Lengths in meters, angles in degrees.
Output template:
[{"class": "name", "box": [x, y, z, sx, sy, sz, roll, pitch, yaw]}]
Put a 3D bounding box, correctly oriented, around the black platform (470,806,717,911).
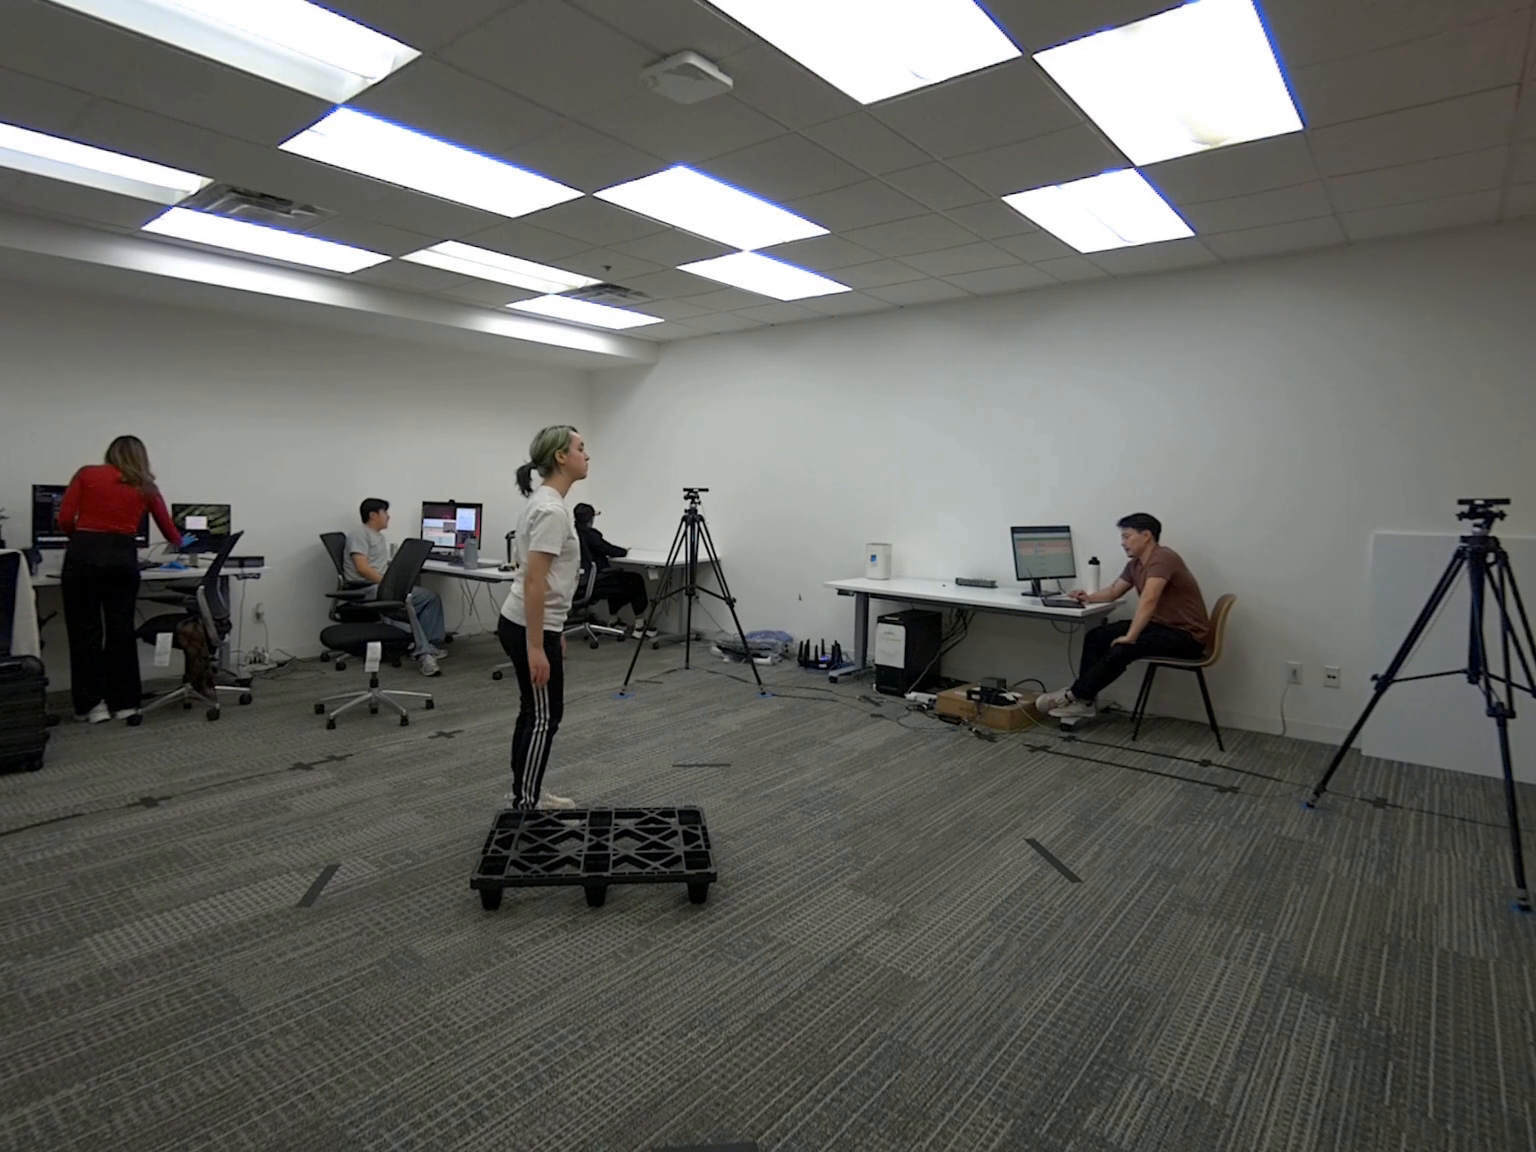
[{"class": "black platform", "box": [-0.613, 1.000, 3.037, 0.800, 0.143, 0.612, 0, 6, -7]}]
